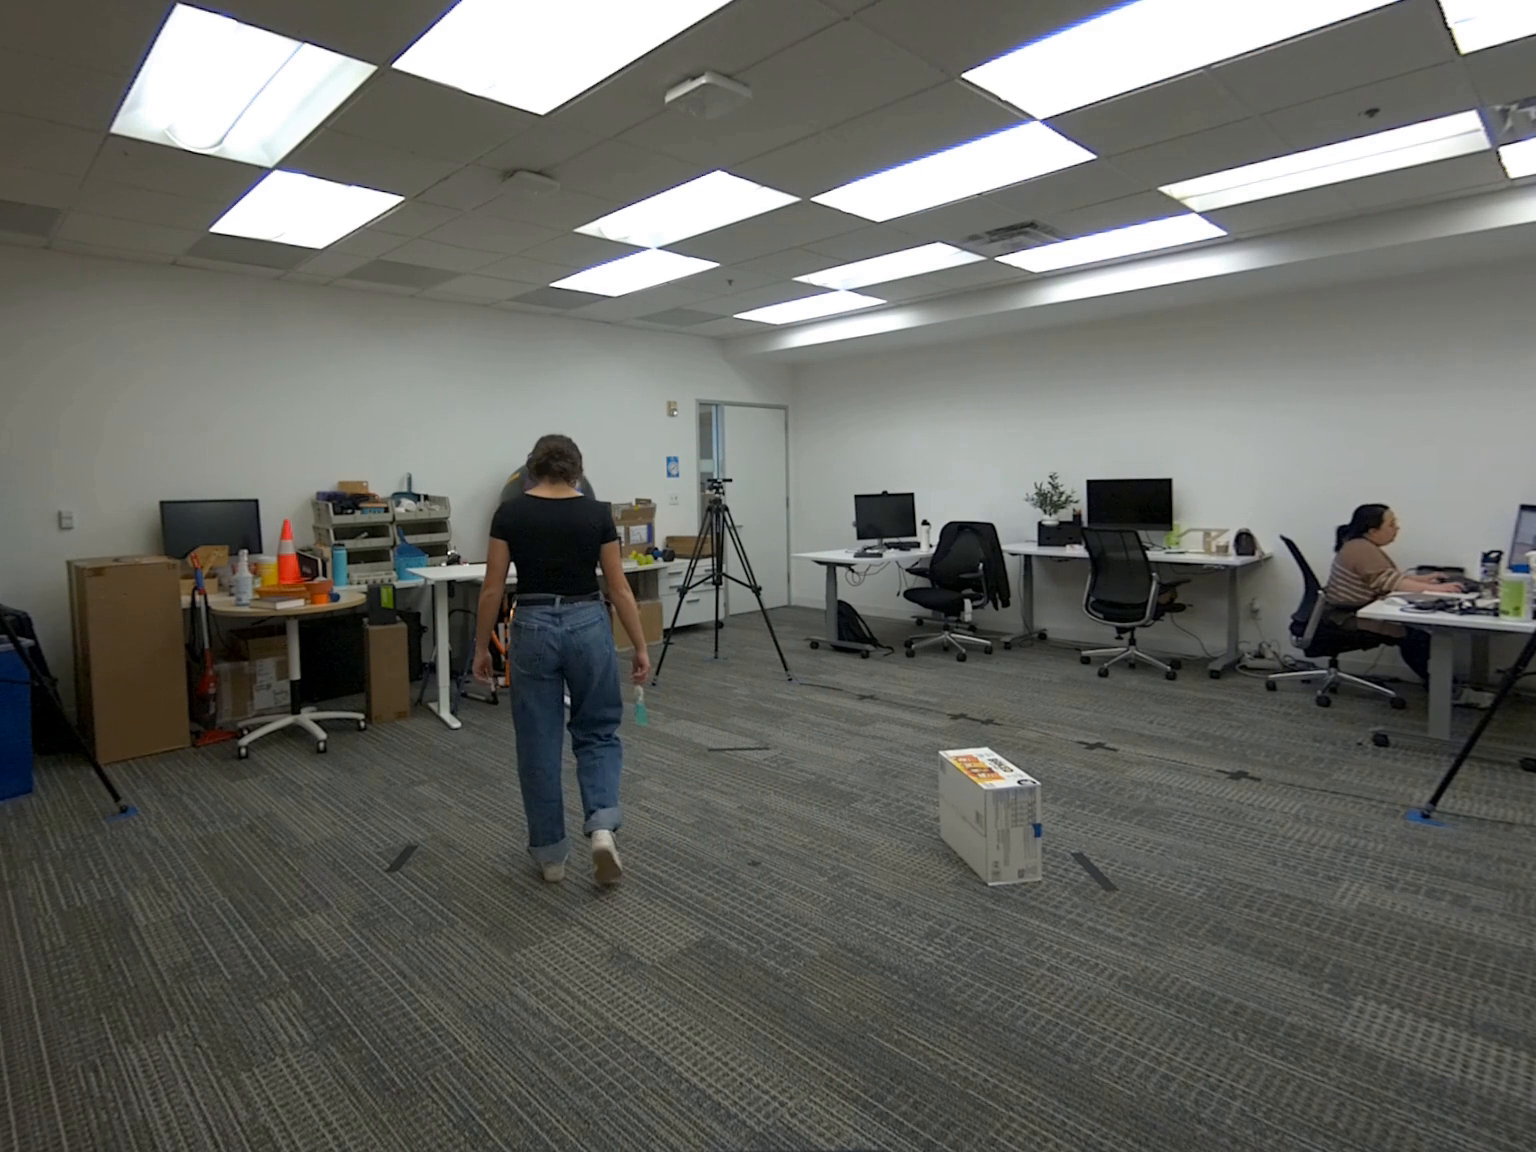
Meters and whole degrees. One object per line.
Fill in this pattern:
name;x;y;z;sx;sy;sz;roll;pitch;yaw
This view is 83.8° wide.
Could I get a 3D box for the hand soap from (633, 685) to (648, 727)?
hand soap;-0.463;0.453;3.089;0.042;0.167;0.086;-8;6;-23
